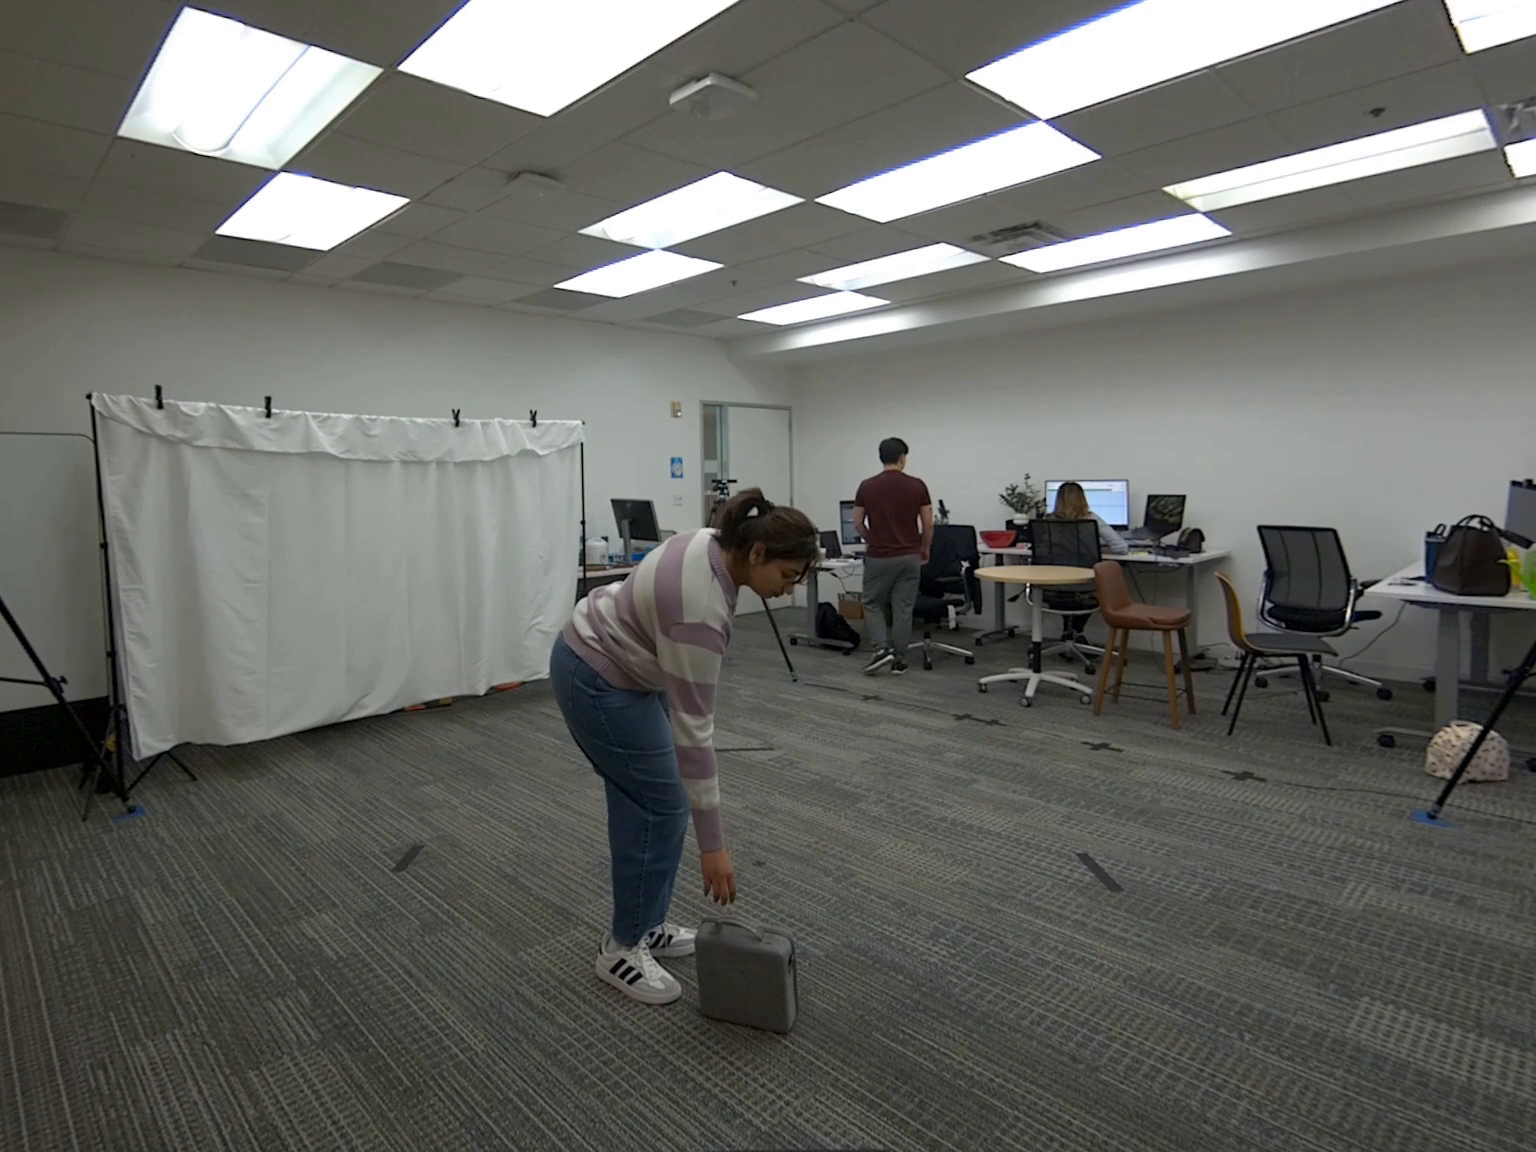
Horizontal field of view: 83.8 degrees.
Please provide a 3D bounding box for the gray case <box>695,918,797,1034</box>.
[{"bbox_3d":[-0.044,1.017,2.201,0.262,0.258,0.103,0,11,22],"label":"gray case"}]
